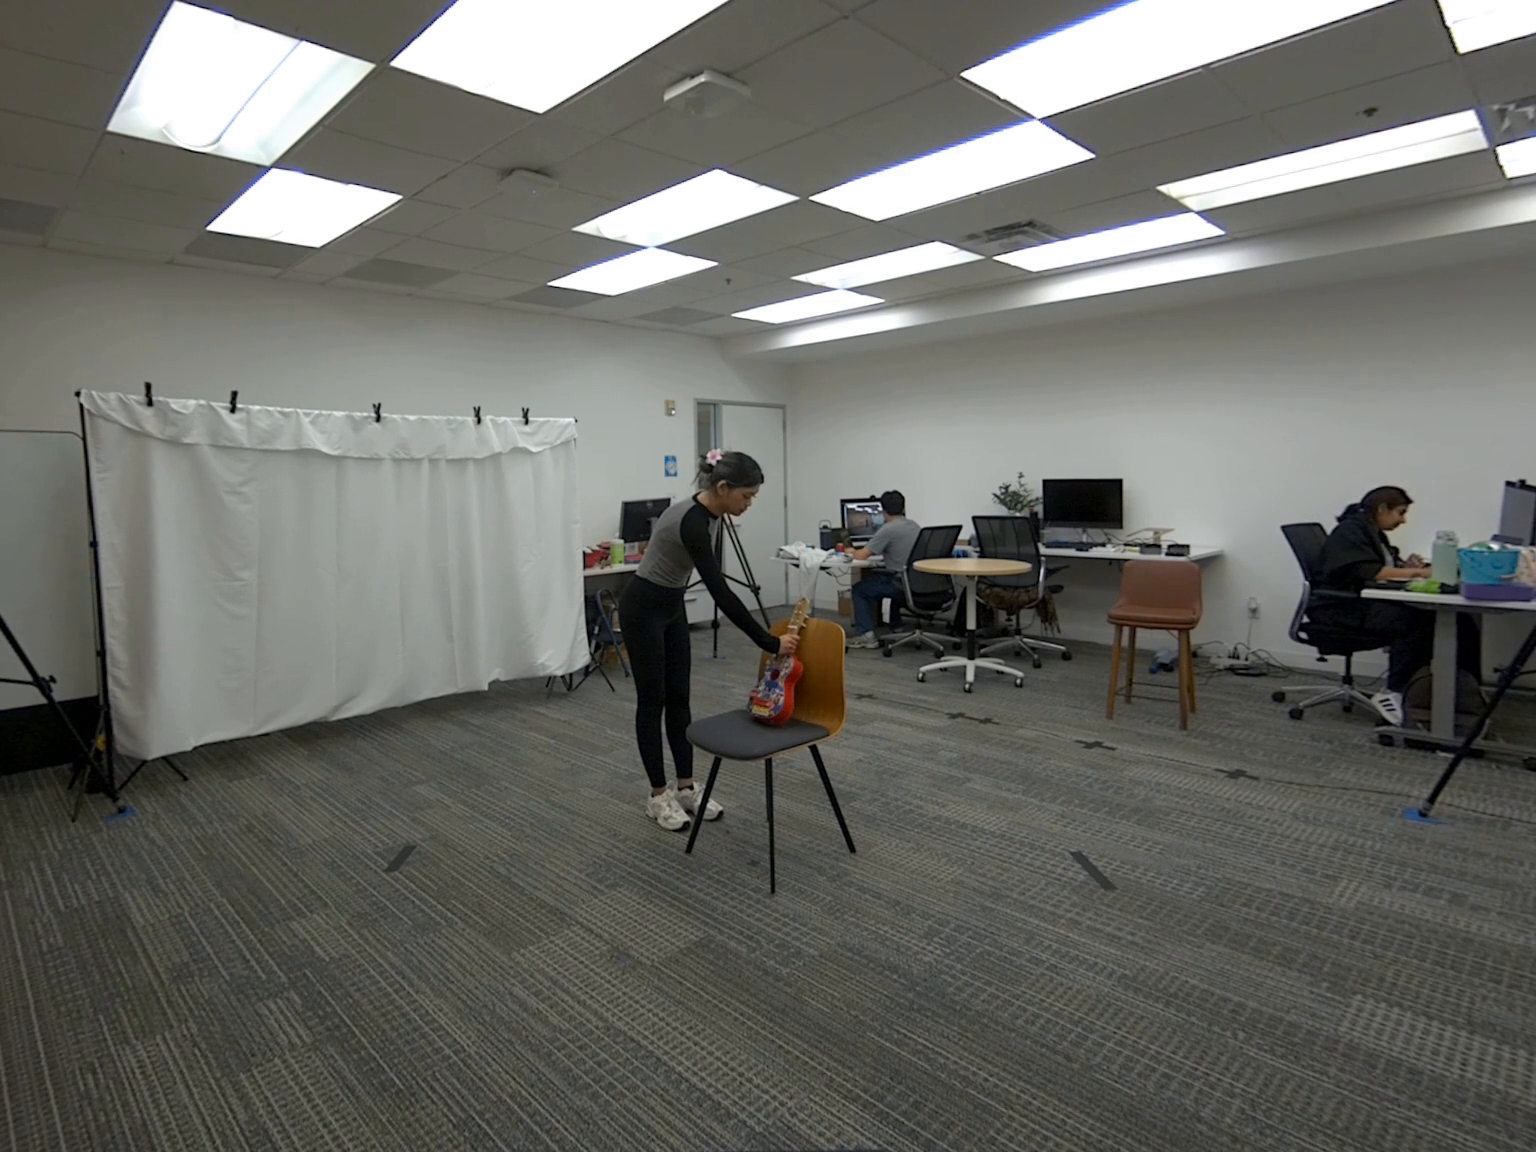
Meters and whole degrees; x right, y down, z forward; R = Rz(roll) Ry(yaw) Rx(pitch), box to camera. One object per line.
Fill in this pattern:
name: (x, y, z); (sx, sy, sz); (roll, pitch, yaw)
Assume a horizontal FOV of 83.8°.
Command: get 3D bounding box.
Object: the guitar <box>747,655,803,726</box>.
guitar: (0.088, 0.324, 3.257); (0.068, 0.500, 0.199); (36, -14, -37)
